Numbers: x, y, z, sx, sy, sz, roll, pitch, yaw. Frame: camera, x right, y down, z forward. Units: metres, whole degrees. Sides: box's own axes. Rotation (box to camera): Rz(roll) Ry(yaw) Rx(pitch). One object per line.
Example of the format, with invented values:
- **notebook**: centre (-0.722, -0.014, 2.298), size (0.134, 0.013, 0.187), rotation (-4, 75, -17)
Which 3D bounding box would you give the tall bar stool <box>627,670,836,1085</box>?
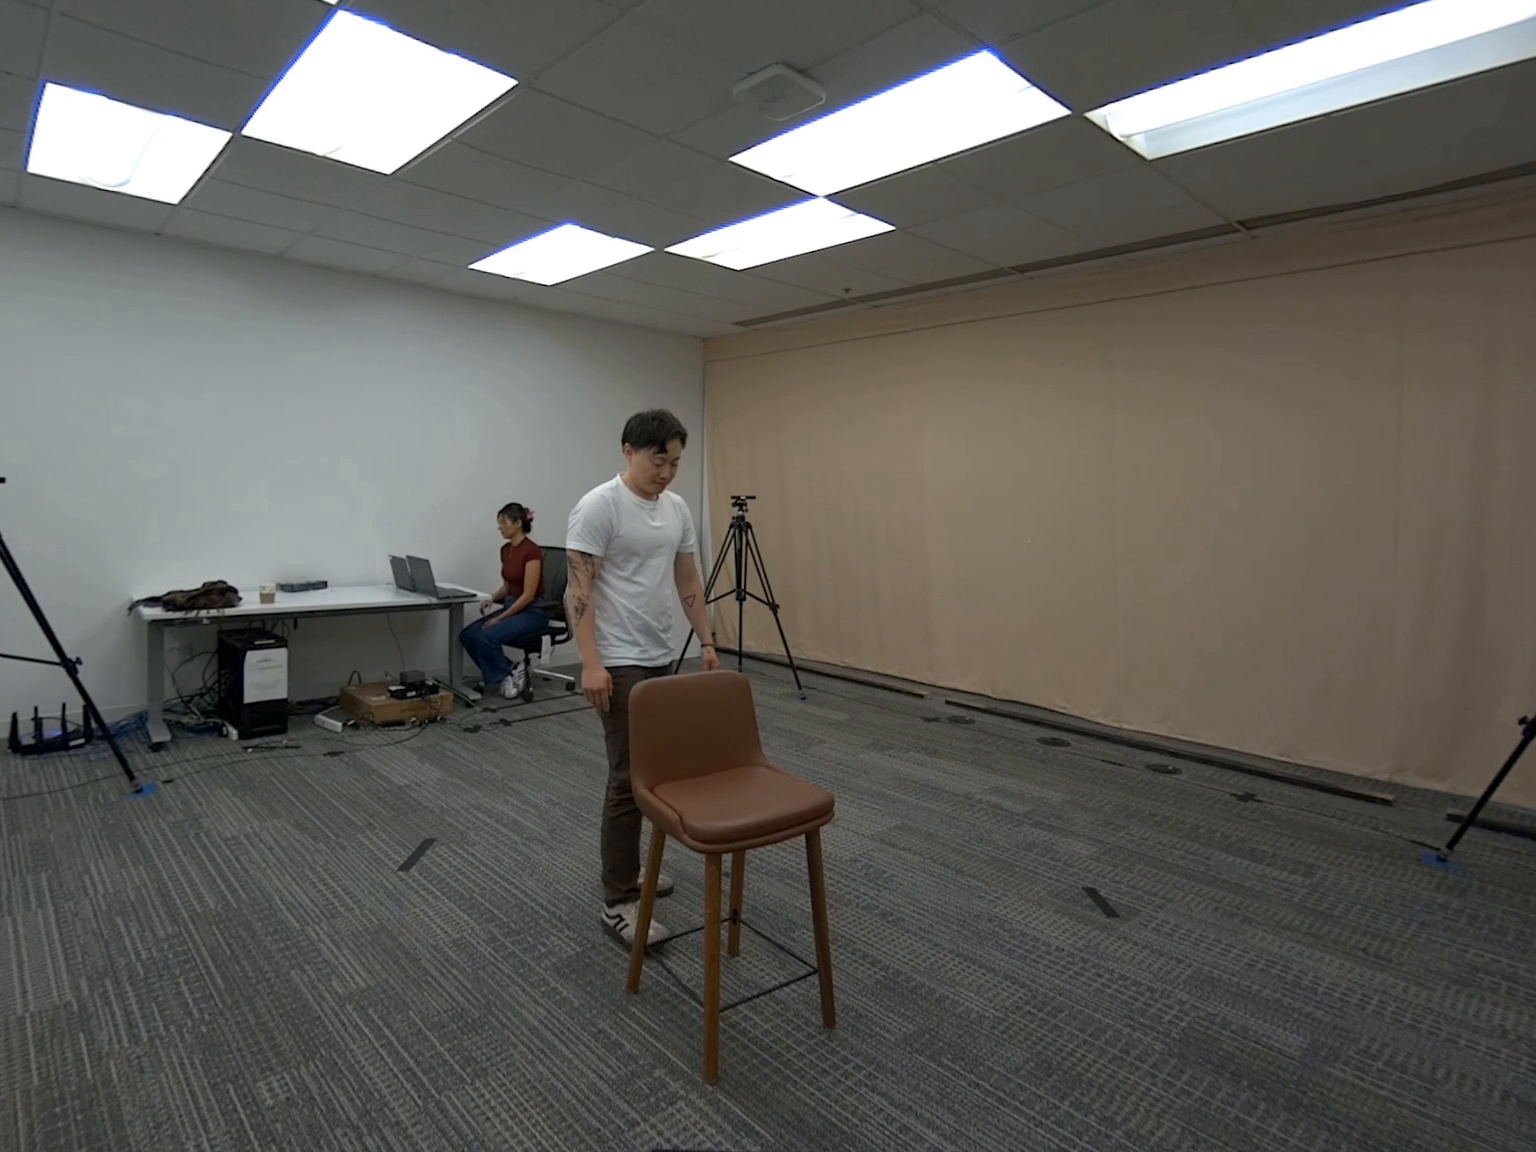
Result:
- **tall bar stool**: centre (-0.114, 0.744, 2.270), size (0.446, 0.888, 0.478), rotation (-1, 3, -36)
